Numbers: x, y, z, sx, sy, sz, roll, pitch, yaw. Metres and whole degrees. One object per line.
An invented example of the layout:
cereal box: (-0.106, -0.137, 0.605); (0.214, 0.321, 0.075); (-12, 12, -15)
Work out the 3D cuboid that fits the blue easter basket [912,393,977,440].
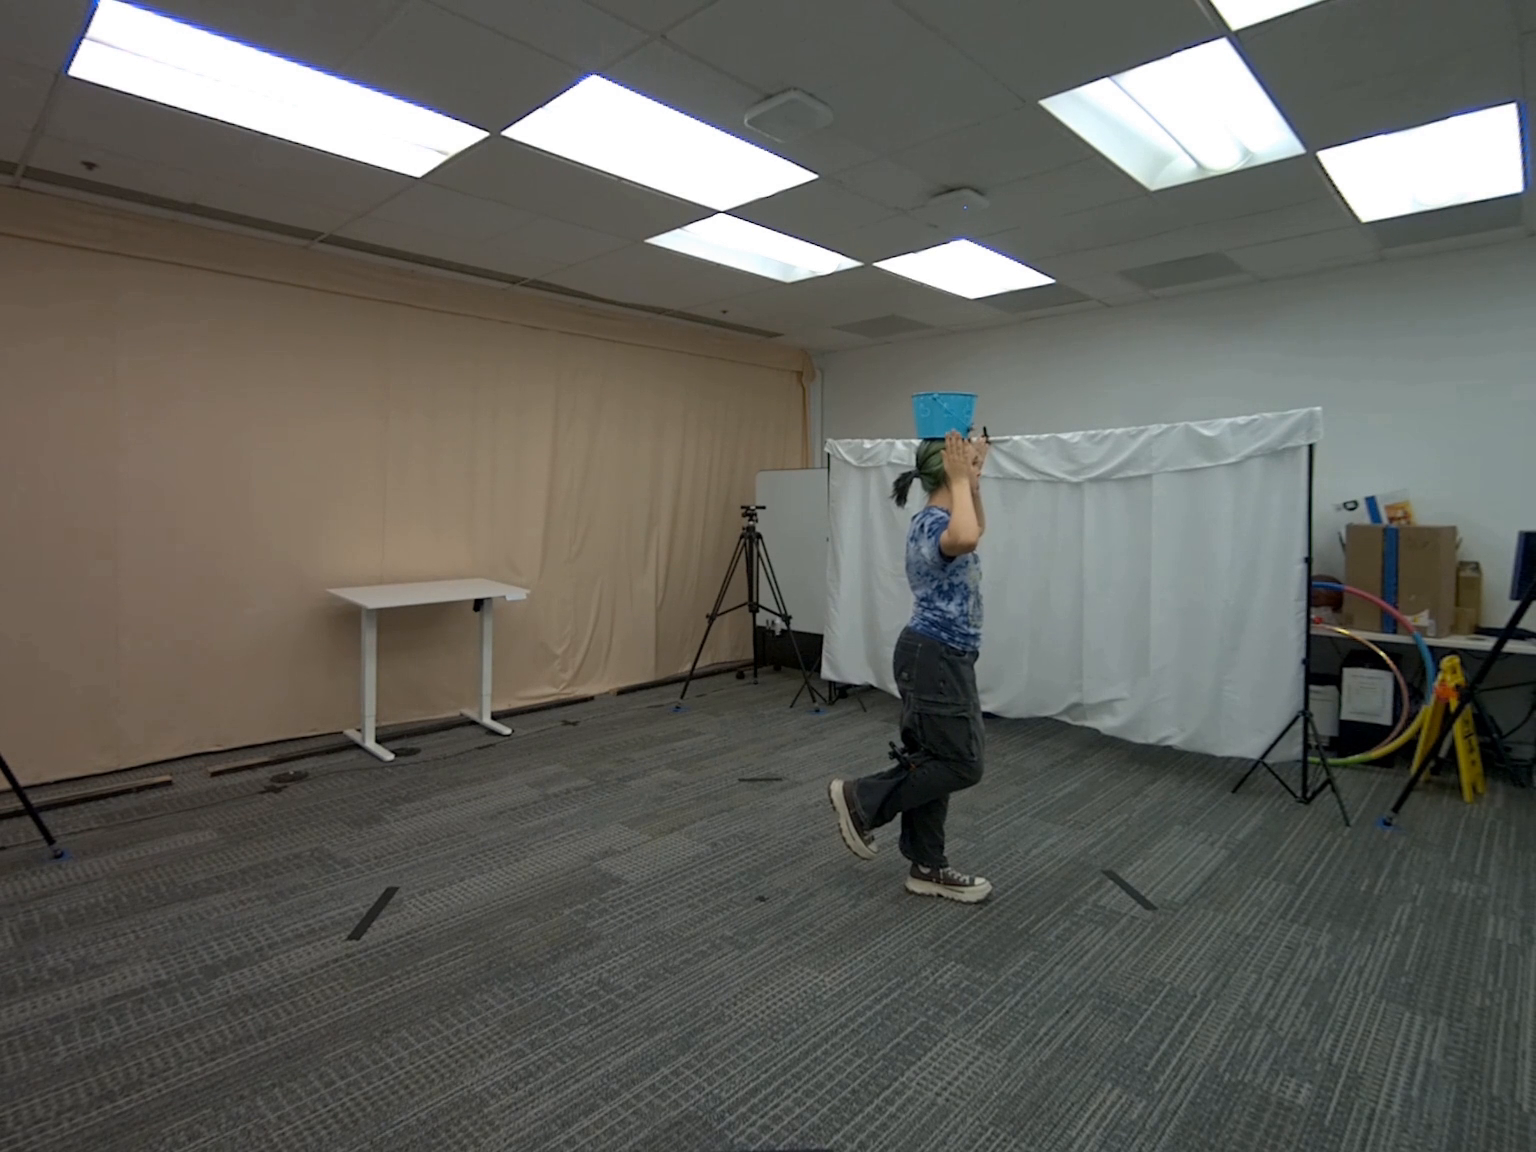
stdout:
blue easter basket: (0.626, -0.563, 2.984); (0.243, 0.155, 0.245); (1, 7, -2)
